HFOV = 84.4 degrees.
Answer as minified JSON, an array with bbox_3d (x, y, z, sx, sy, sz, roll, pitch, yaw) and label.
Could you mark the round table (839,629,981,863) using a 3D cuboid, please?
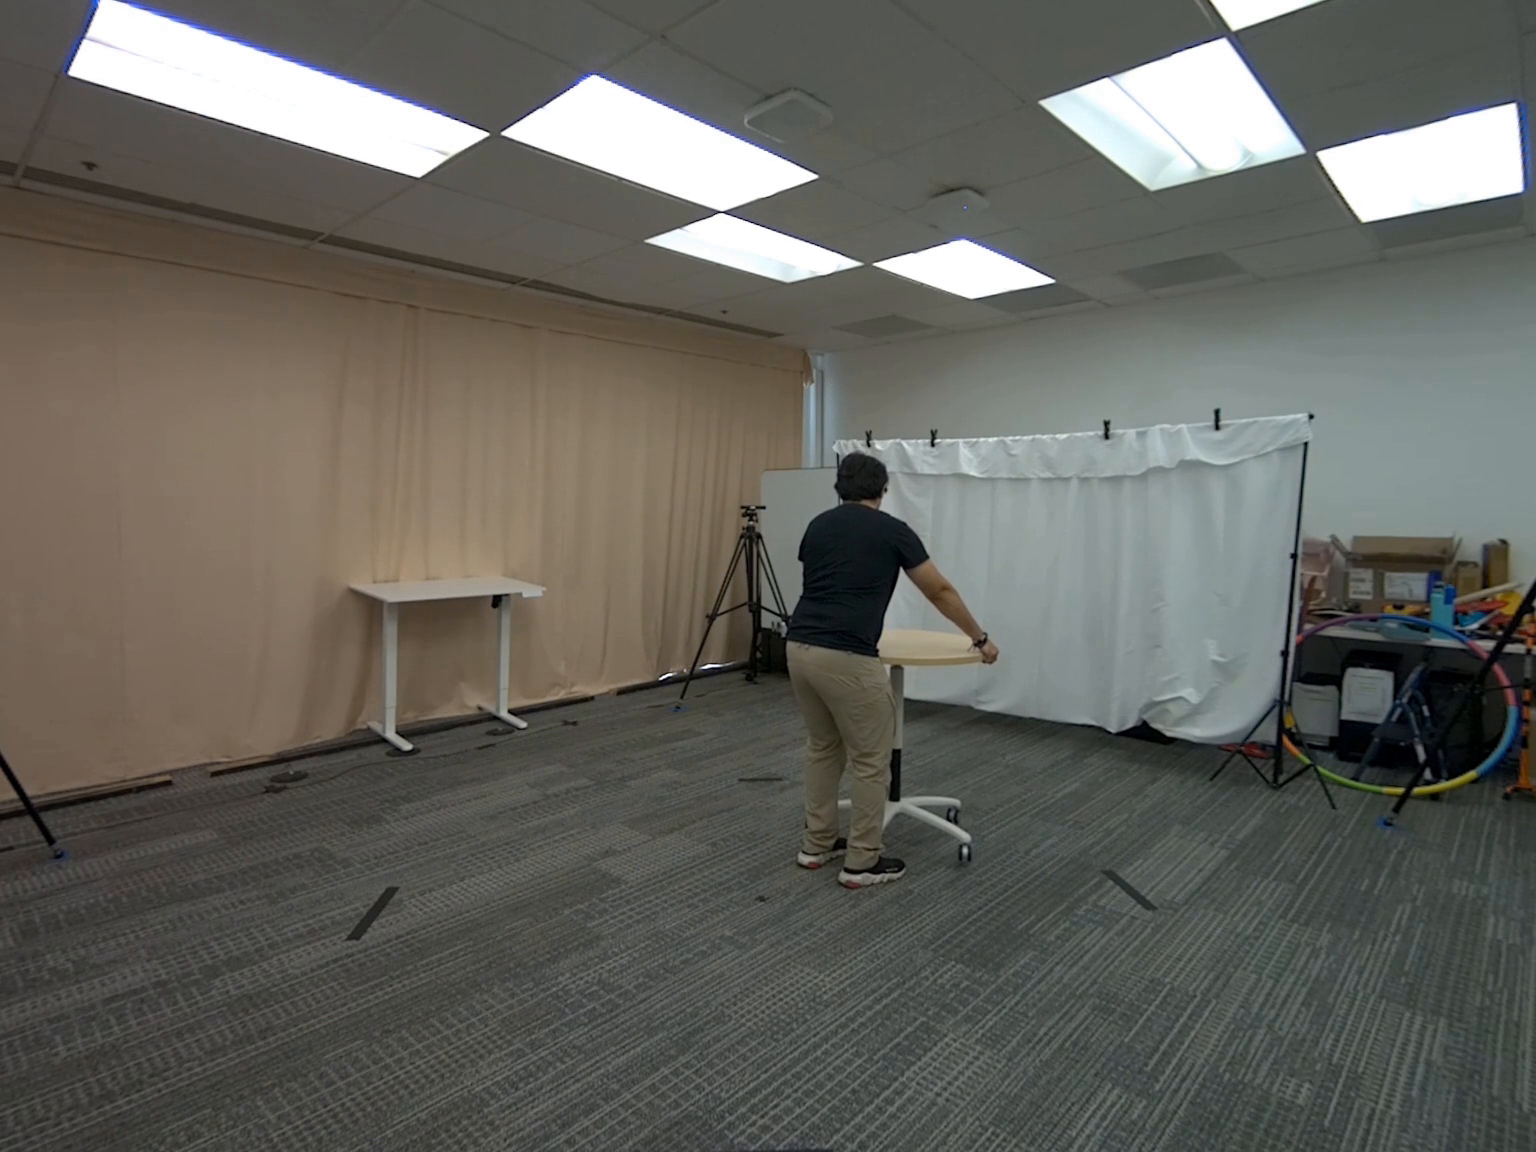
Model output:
[{"bbox_3d":[0.526,0.668,3.501,0.784,0.785,0.787,1,3,-2],"label":"round table"}]
